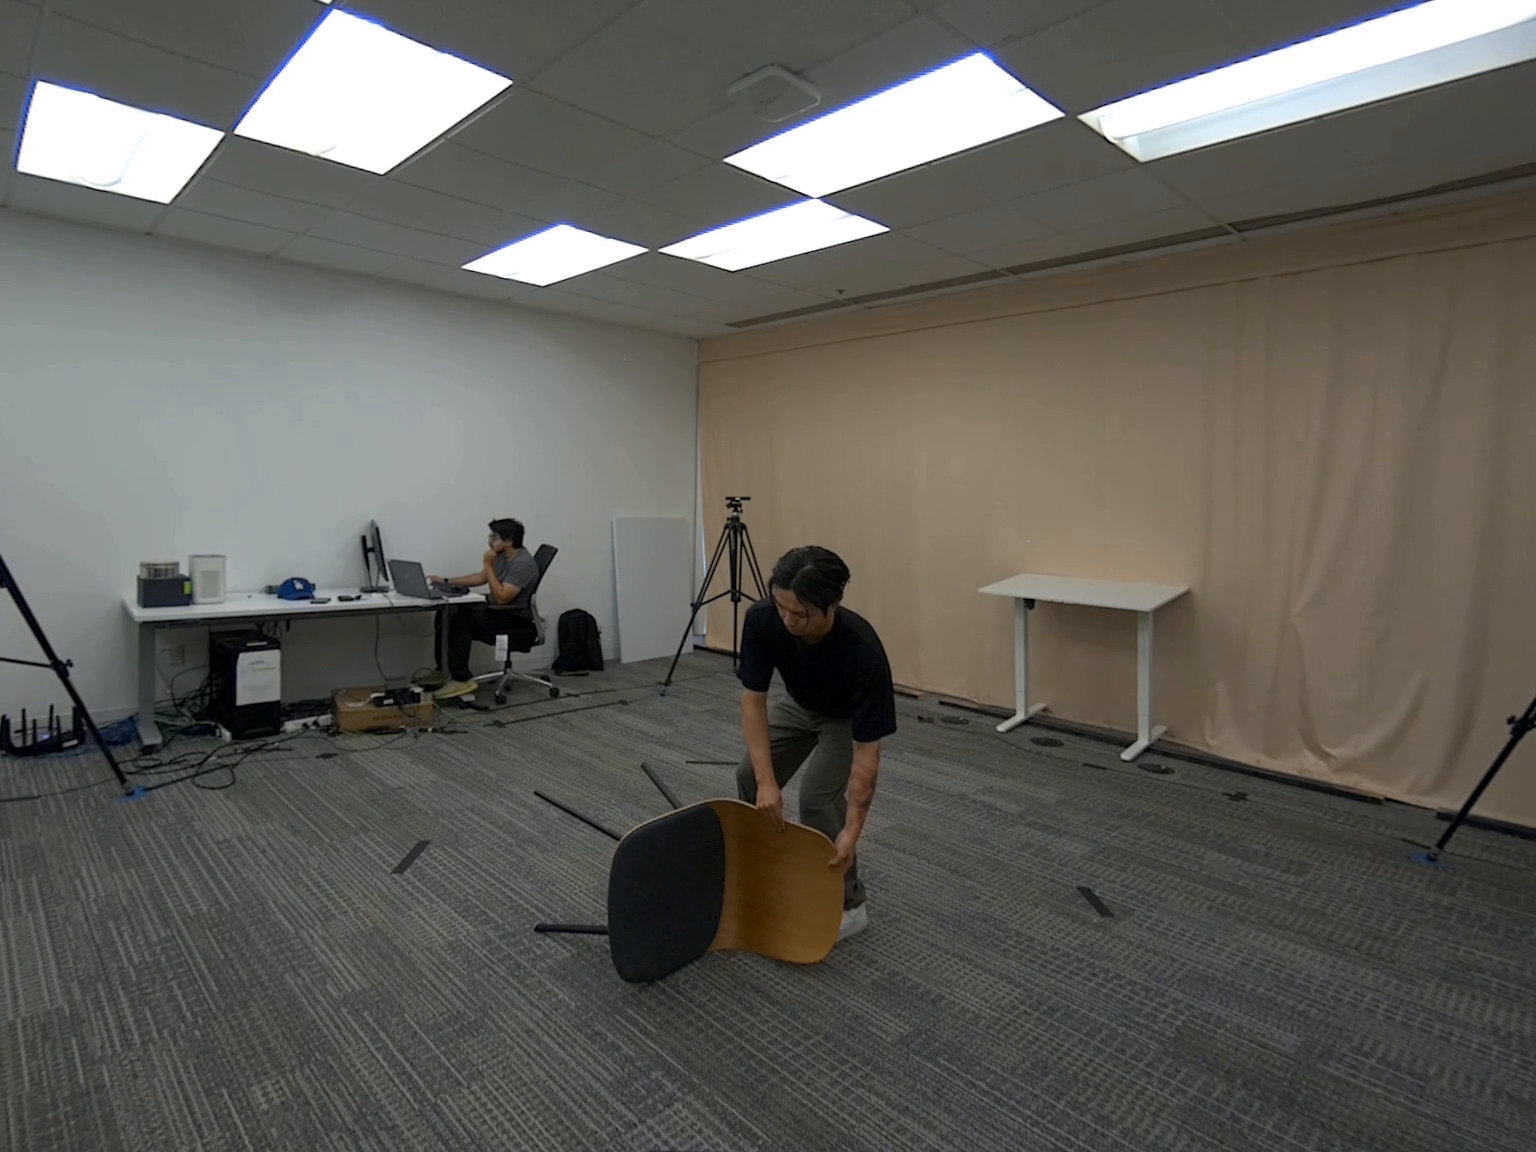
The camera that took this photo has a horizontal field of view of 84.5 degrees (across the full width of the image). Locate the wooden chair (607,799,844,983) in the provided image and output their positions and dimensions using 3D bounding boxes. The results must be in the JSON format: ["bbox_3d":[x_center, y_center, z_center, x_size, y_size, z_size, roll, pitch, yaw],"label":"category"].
[{"bbox_3d":[-0.281,0.922,2.530,0.899,0.477,0.511,4,4,38],"label":"wooden chair"}]
